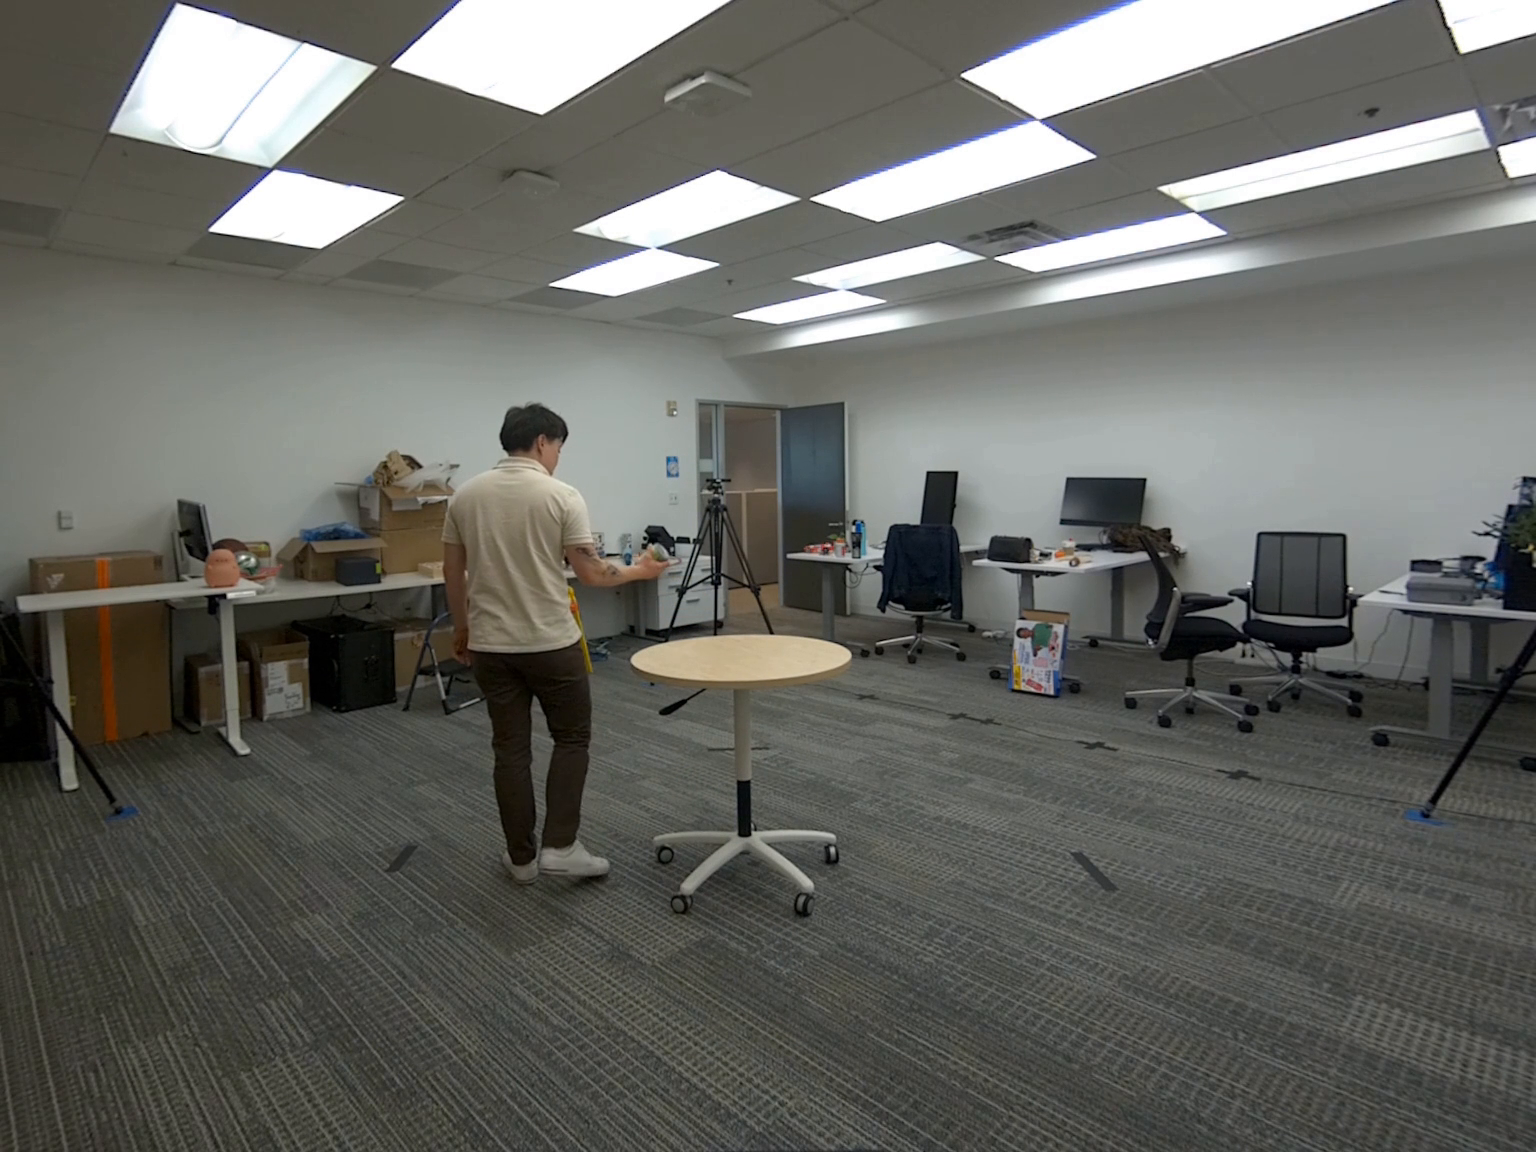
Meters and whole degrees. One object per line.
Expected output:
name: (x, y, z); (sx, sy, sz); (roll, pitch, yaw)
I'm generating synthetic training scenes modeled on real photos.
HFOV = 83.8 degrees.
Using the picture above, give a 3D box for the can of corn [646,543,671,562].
can of corn: (-0.429, -0.066, 3.212); (0.111, 0.075, 0.073); (-42, -7, 15)
